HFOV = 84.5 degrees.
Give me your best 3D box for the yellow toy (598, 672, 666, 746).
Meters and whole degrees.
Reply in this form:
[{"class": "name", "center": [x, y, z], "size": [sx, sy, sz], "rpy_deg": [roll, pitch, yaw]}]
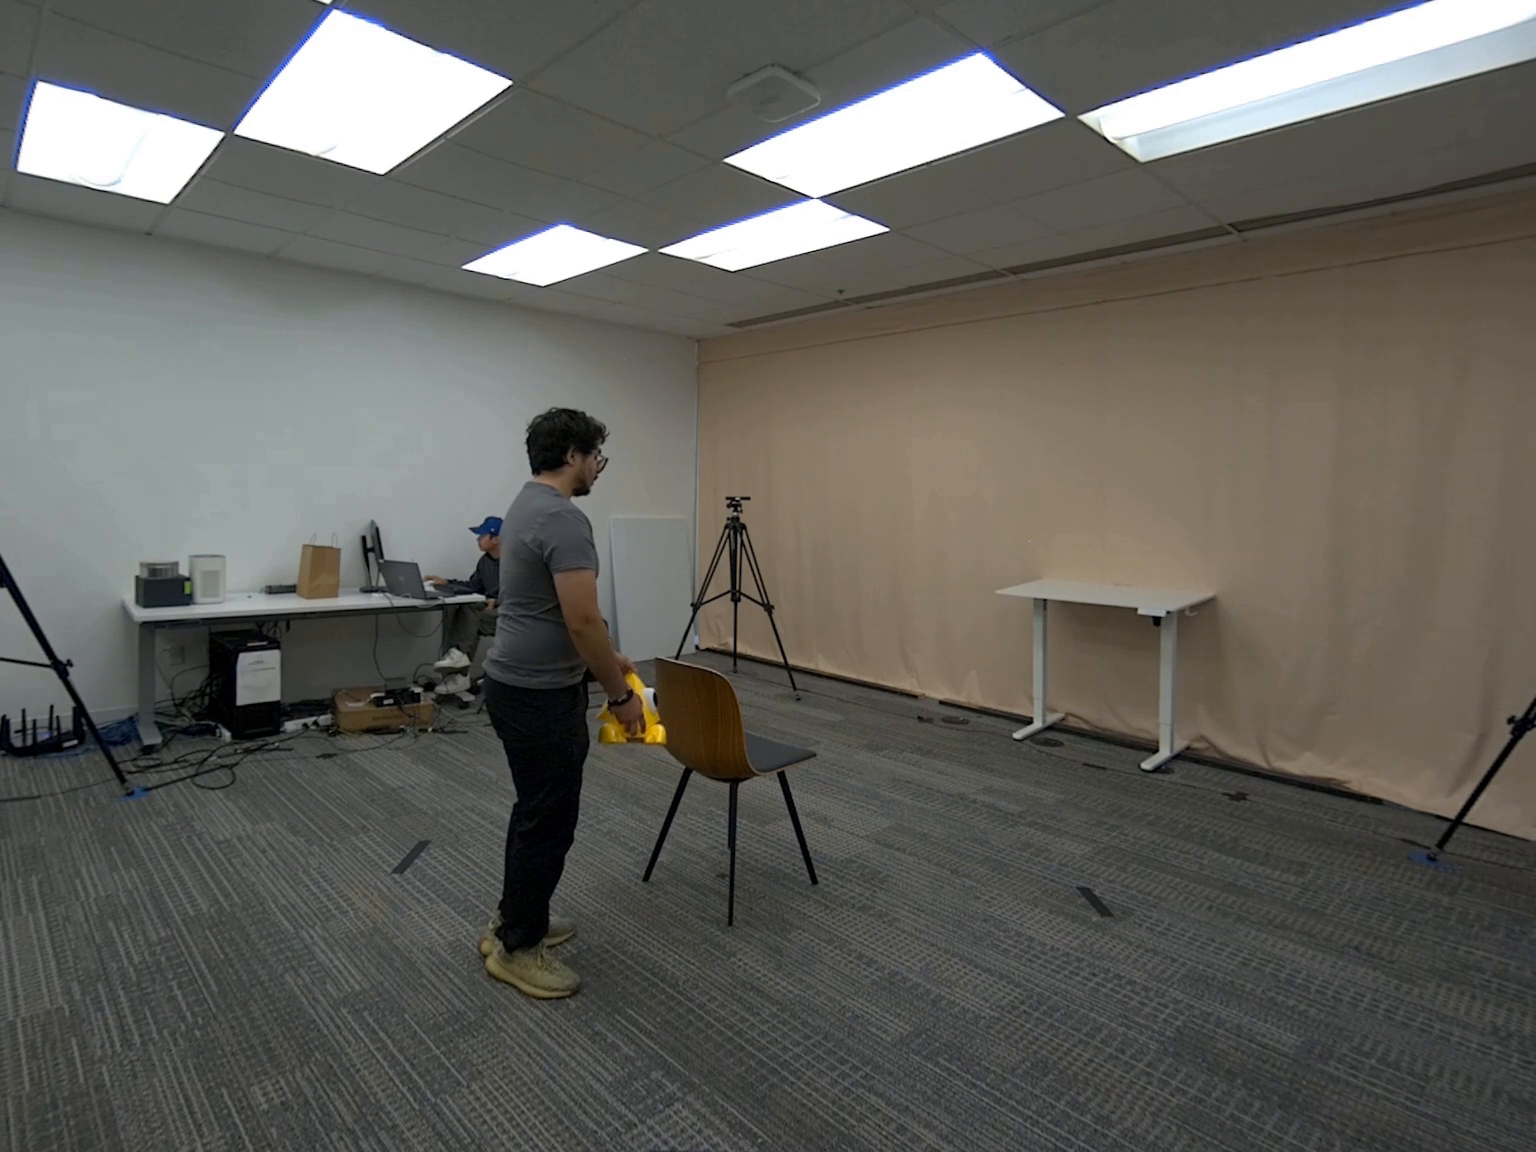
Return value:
[{"class": "yellow toy", "center": [-0.422, 0.395, 2.530], "size": [0.202, 0.233, 0.193], "rpy_deg": [5, -17, -16]}]
